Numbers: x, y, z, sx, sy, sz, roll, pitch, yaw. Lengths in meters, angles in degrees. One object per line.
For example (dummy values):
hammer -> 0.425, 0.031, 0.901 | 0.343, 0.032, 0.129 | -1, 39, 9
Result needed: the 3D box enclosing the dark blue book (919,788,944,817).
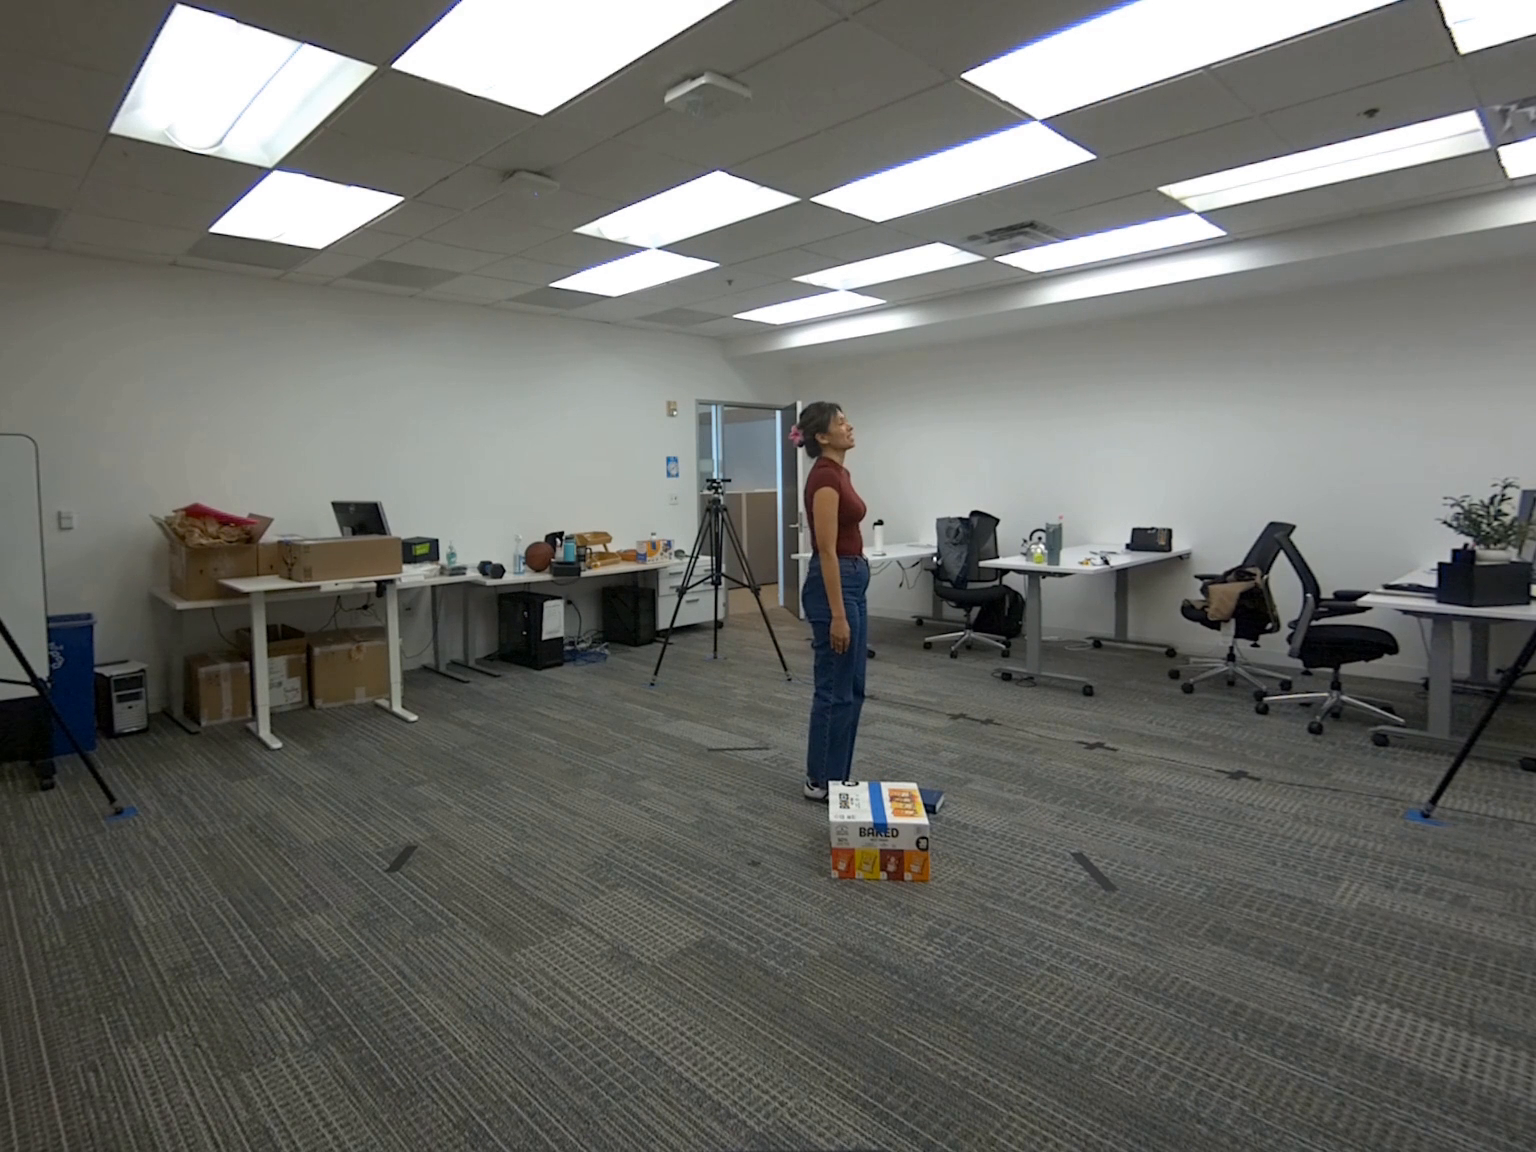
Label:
dark blue book -> 0.616, 0.952, 3.653 | 0.251, 0.045, 0.160 | 0, 5, 27
